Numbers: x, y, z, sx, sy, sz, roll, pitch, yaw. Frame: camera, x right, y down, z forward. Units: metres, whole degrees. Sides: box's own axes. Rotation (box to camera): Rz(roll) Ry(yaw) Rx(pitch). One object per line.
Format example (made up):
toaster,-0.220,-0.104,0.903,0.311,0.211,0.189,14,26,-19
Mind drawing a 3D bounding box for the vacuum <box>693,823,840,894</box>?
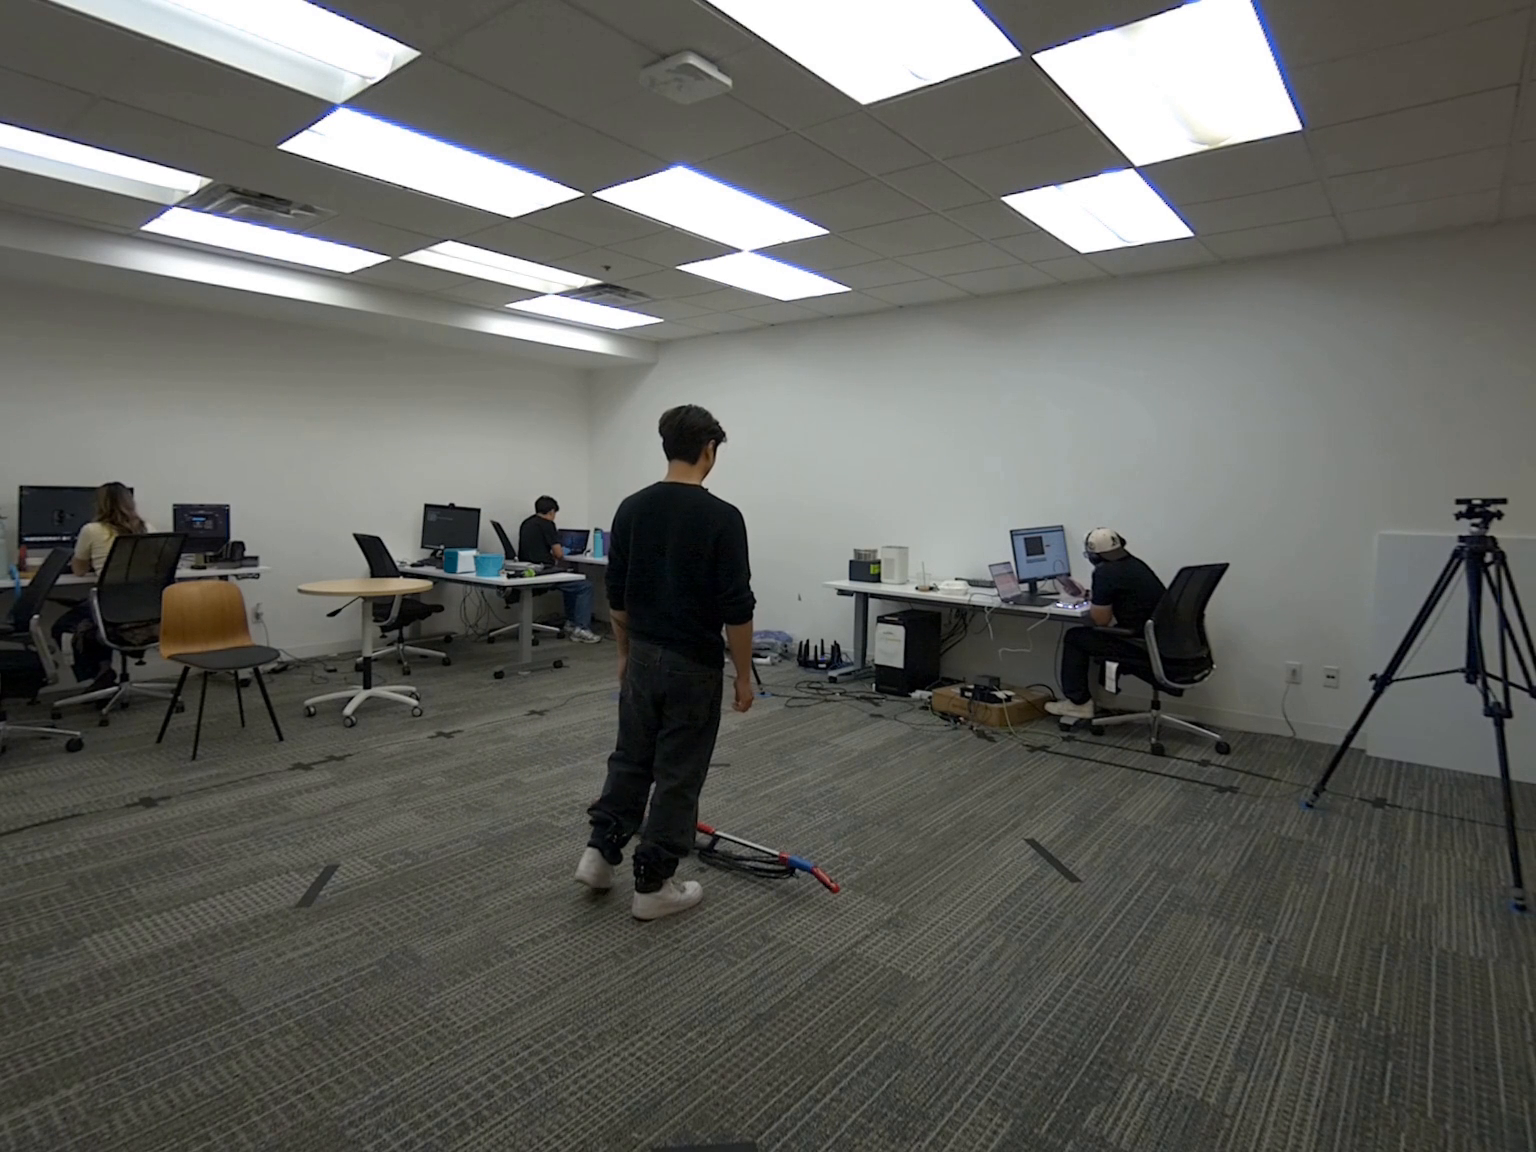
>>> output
vacuum,-0.201,1.001,3.172,1.085,0.143,0.245,7,9,39
